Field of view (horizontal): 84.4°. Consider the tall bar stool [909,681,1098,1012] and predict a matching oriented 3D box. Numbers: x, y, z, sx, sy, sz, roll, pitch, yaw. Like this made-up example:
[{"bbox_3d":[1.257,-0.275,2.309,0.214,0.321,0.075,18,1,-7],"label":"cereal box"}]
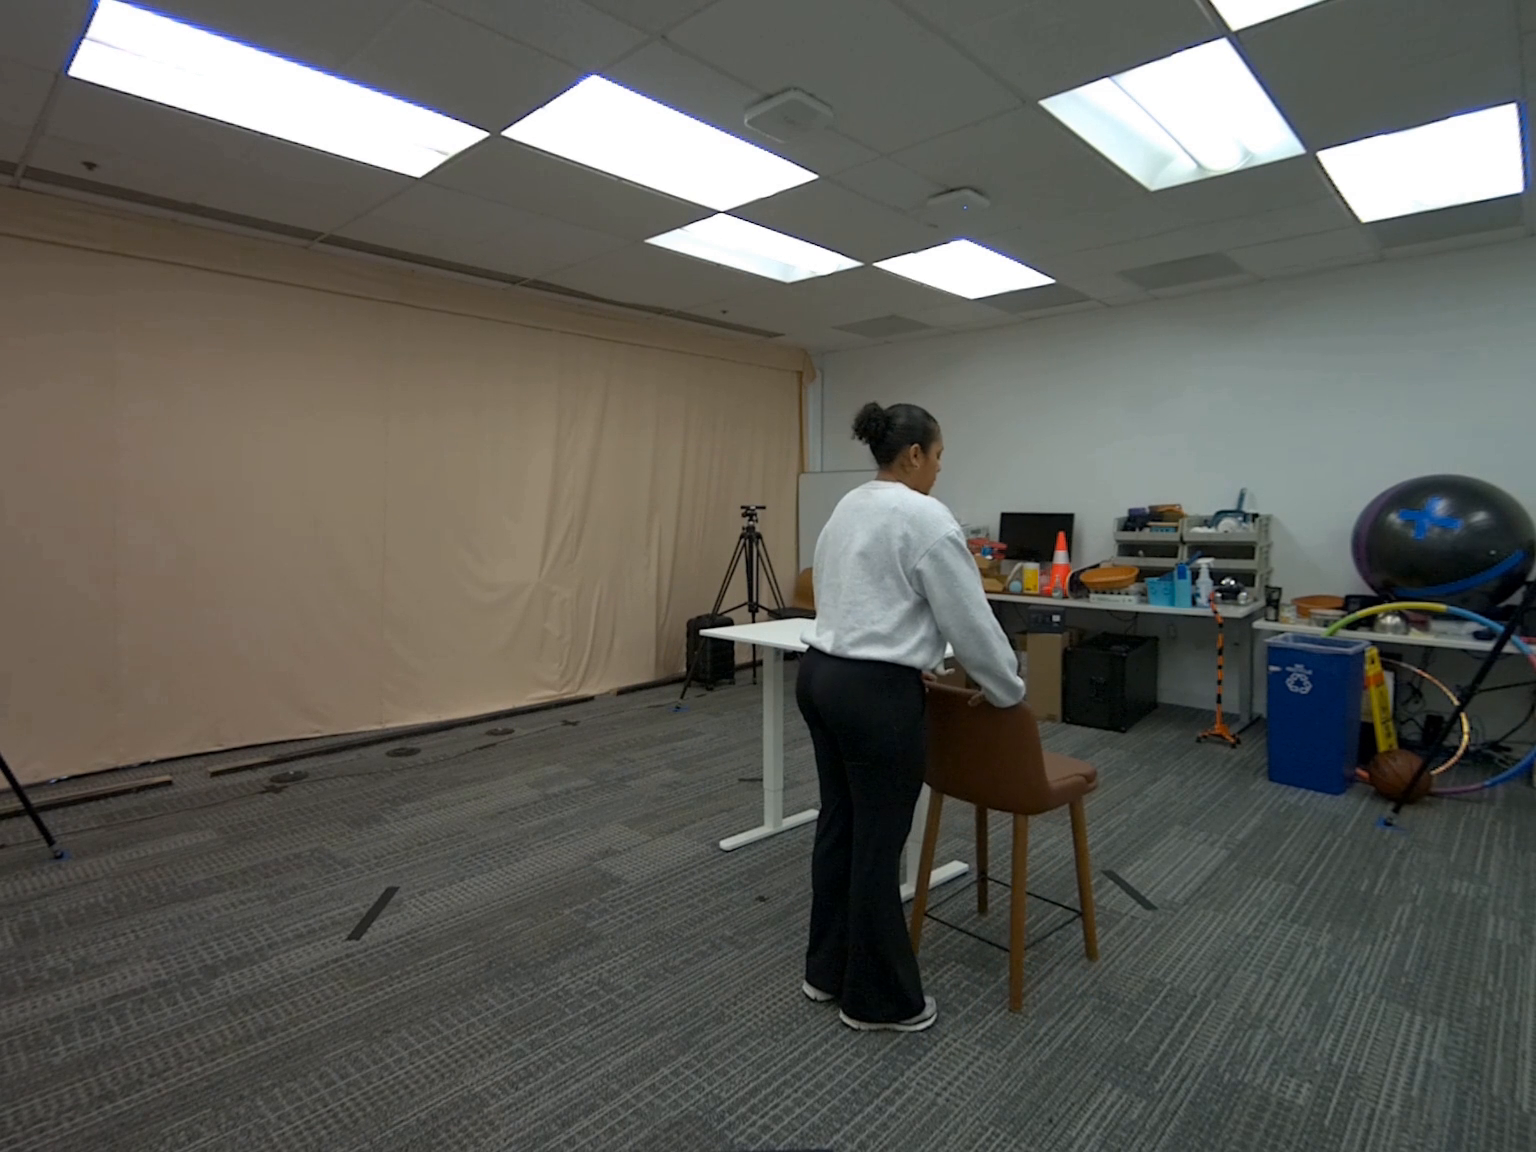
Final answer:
[{"bbox_3d":[0.709,0.743,2.555,0.454,0.886,0.472,-7,7,-42],"label":"tall bar stool"}]
